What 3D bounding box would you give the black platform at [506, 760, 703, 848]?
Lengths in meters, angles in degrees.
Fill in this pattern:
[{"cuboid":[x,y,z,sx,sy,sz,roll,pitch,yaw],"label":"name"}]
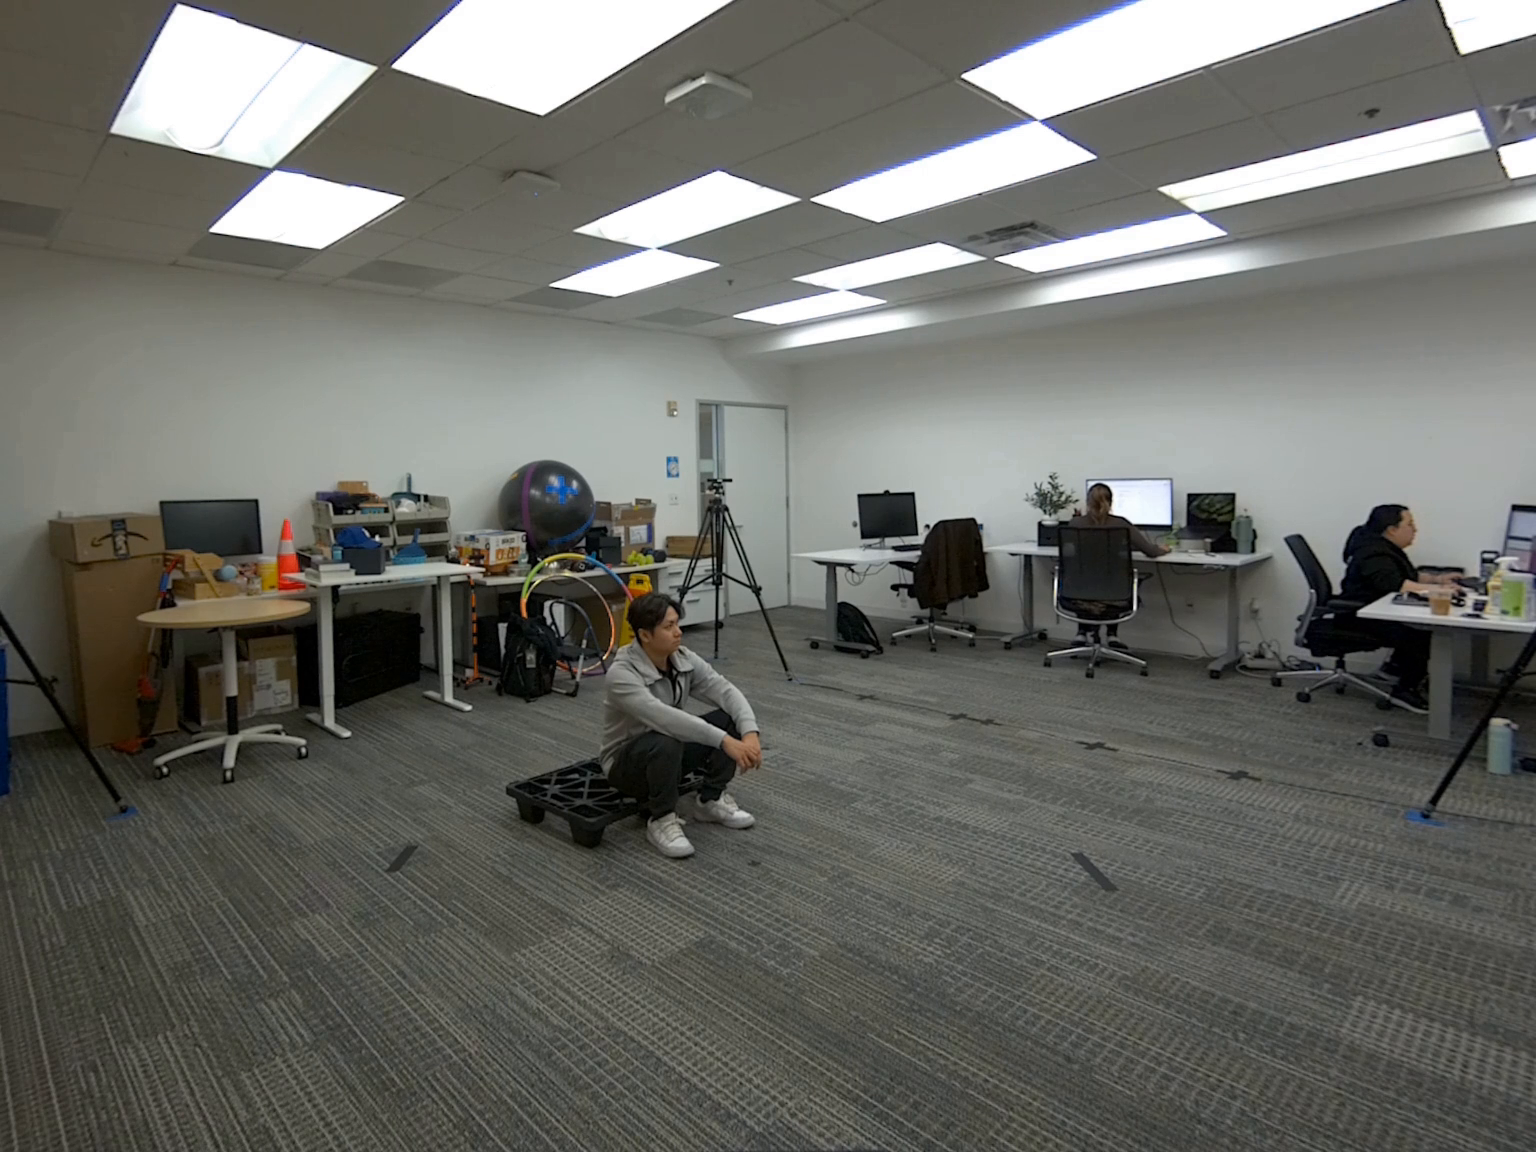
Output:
[{"cuboid":[-0.618,0.927,3.672,0.624,0.142,0.785,5,9,41],"label":"black platform"}]
